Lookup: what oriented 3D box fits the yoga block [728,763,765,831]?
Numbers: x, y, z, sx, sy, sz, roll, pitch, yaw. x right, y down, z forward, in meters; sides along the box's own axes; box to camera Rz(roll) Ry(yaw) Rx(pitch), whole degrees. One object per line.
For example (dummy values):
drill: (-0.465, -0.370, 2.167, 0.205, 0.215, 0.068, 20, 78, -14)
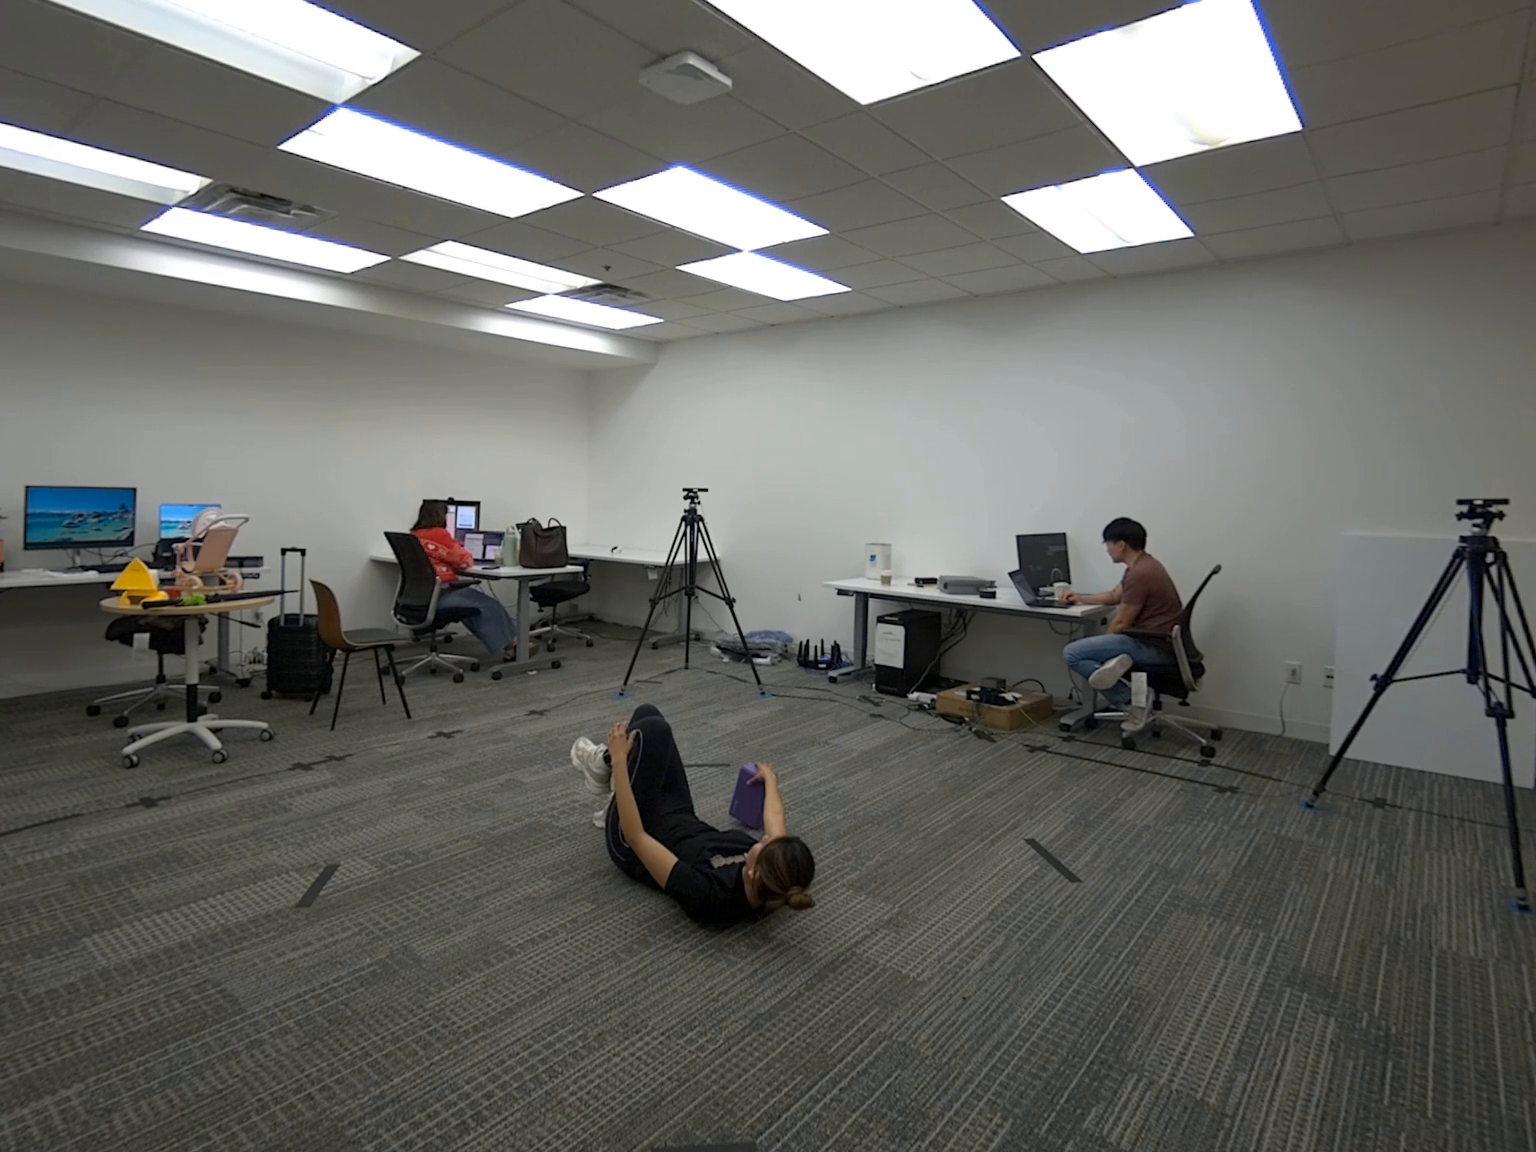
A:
yoga block: (-0.077, 0.909, 3.512, 0.154, 0.228, 0.074, 19, 11, 29)
